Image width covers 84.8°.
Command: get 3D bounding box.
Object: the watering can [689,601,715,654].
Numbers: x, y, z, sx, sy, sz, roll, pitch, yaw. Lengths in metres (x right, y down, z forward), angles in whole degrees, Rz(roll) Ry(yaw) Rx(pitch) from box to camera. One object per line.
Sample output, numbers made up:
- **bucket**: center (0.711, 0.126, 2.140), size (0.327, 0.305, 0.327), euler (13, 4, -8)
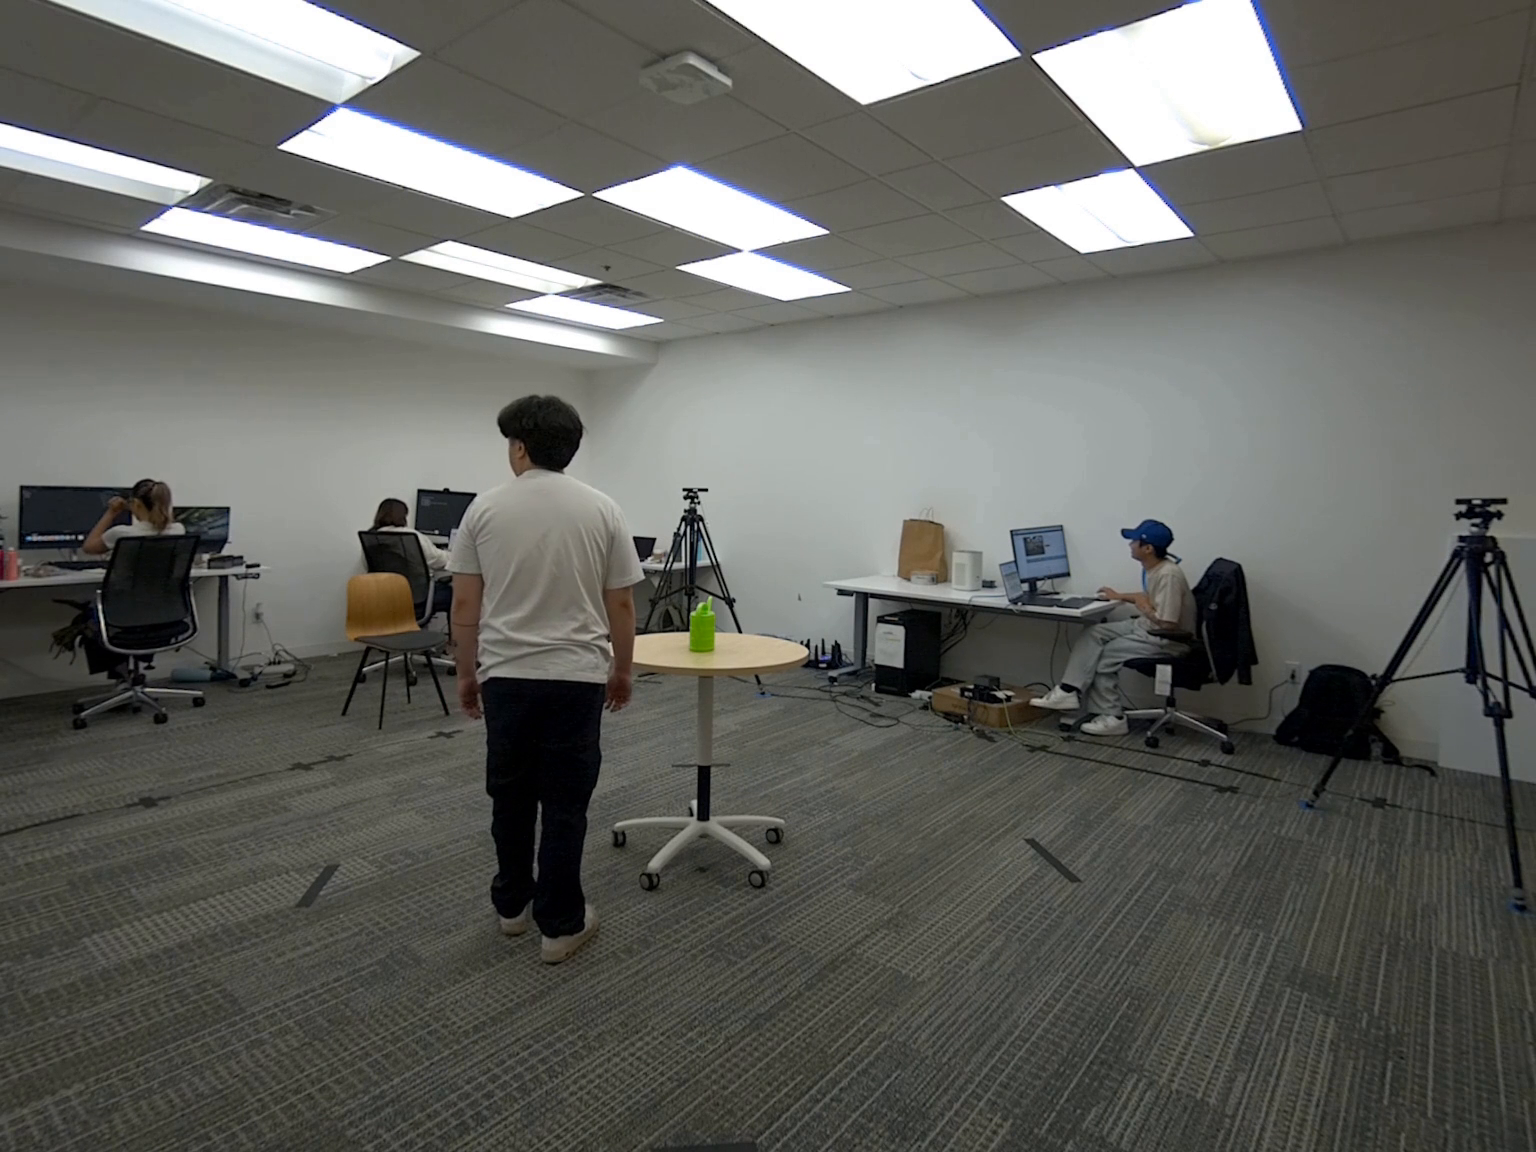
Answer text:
- **watering can**: center (-0.238, 0.181, 3.205), size (0.100, 0.176, 0.273), euler (1, 6, 24)
